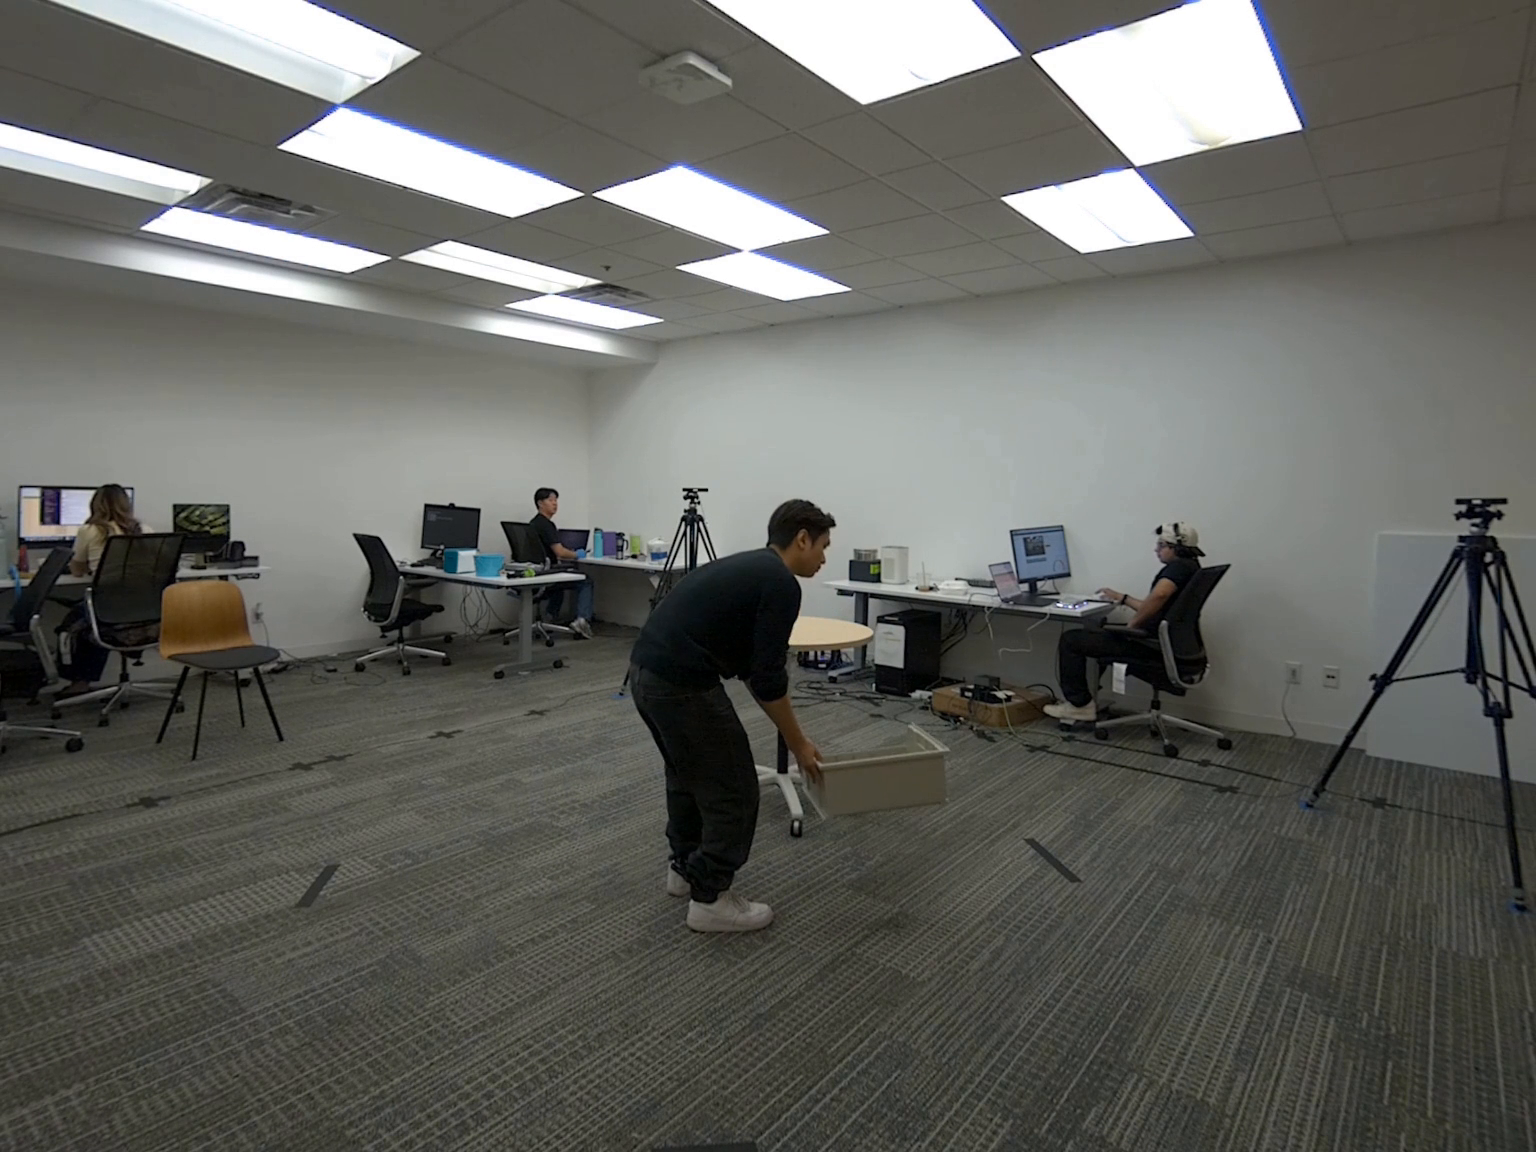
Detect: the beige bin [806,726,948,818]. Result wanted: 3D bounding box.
[{"bbox_3d":[0.332,0.644,2.828,0.419,0.188,0.383,-5,7,-9],"label":"beige bin"}]
